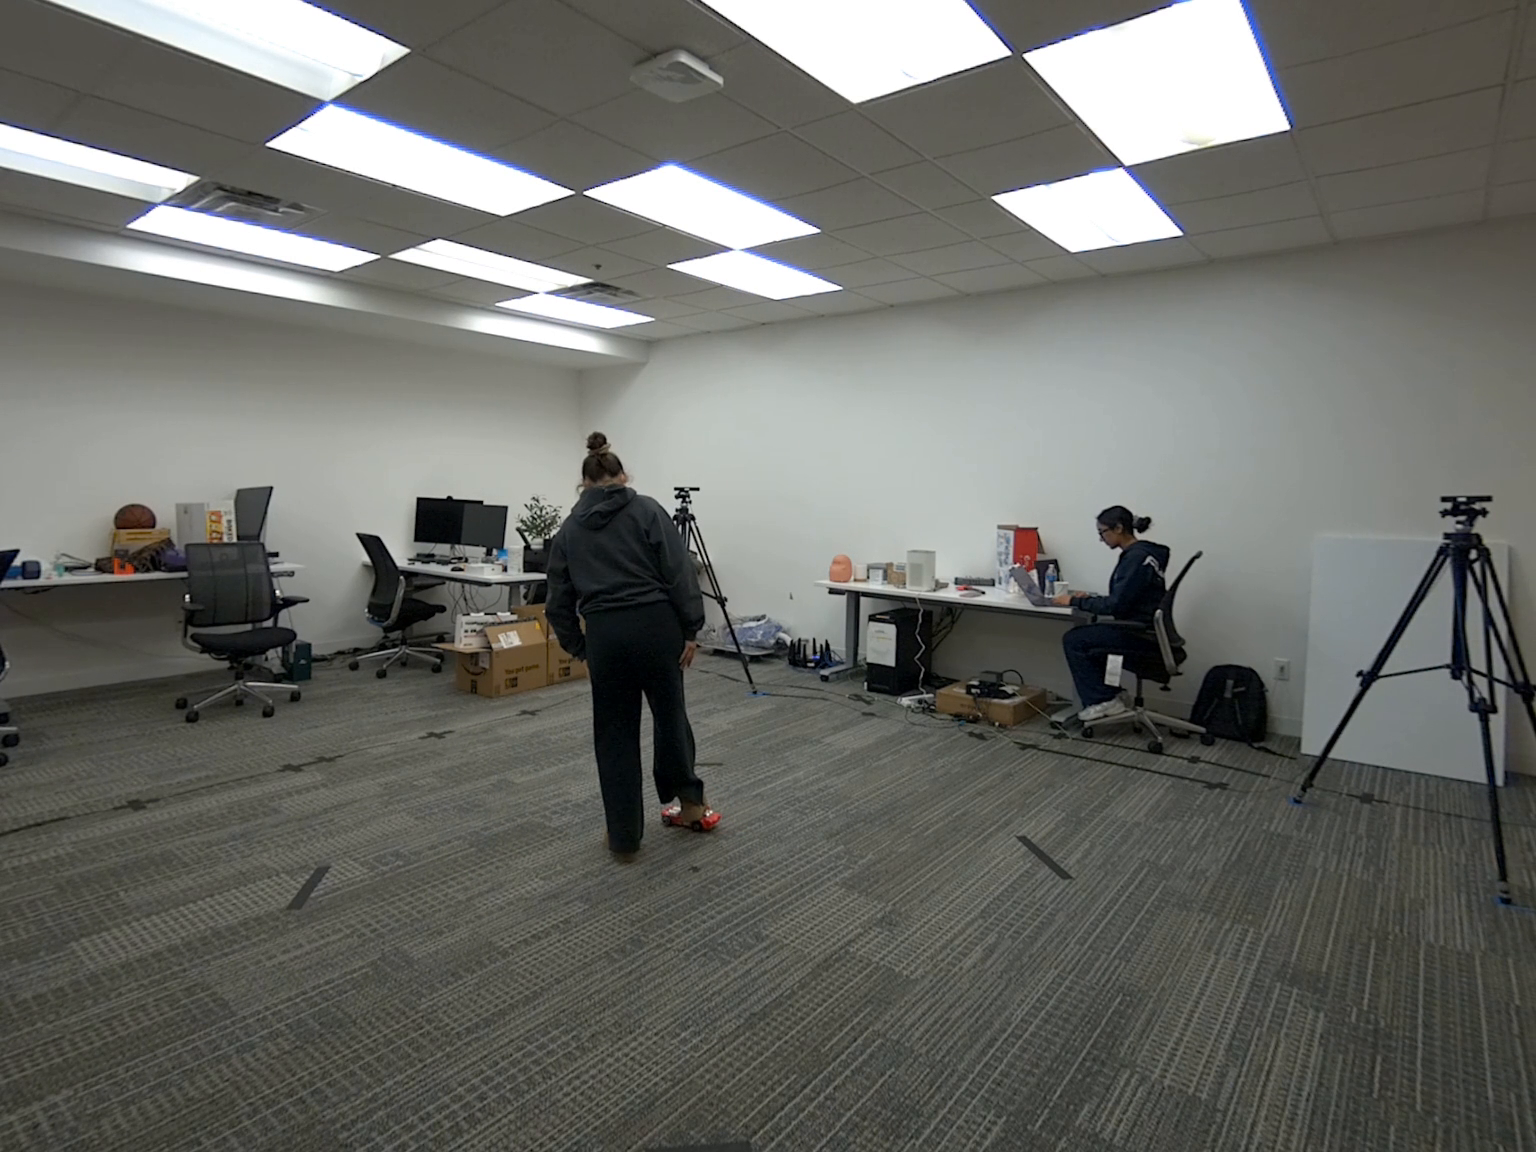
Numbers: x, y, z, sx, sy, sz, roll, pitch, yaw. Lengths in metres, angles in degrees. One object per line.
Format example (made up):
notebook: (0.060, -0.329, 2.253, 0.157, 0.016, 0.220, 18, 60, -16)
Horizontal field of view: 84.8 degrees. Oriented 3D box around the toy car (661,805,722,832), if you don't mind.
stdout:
toy car: (-0.316, 0.995, 3.508, 0.260, 0.083, 0.127, -8, 0, 25)
